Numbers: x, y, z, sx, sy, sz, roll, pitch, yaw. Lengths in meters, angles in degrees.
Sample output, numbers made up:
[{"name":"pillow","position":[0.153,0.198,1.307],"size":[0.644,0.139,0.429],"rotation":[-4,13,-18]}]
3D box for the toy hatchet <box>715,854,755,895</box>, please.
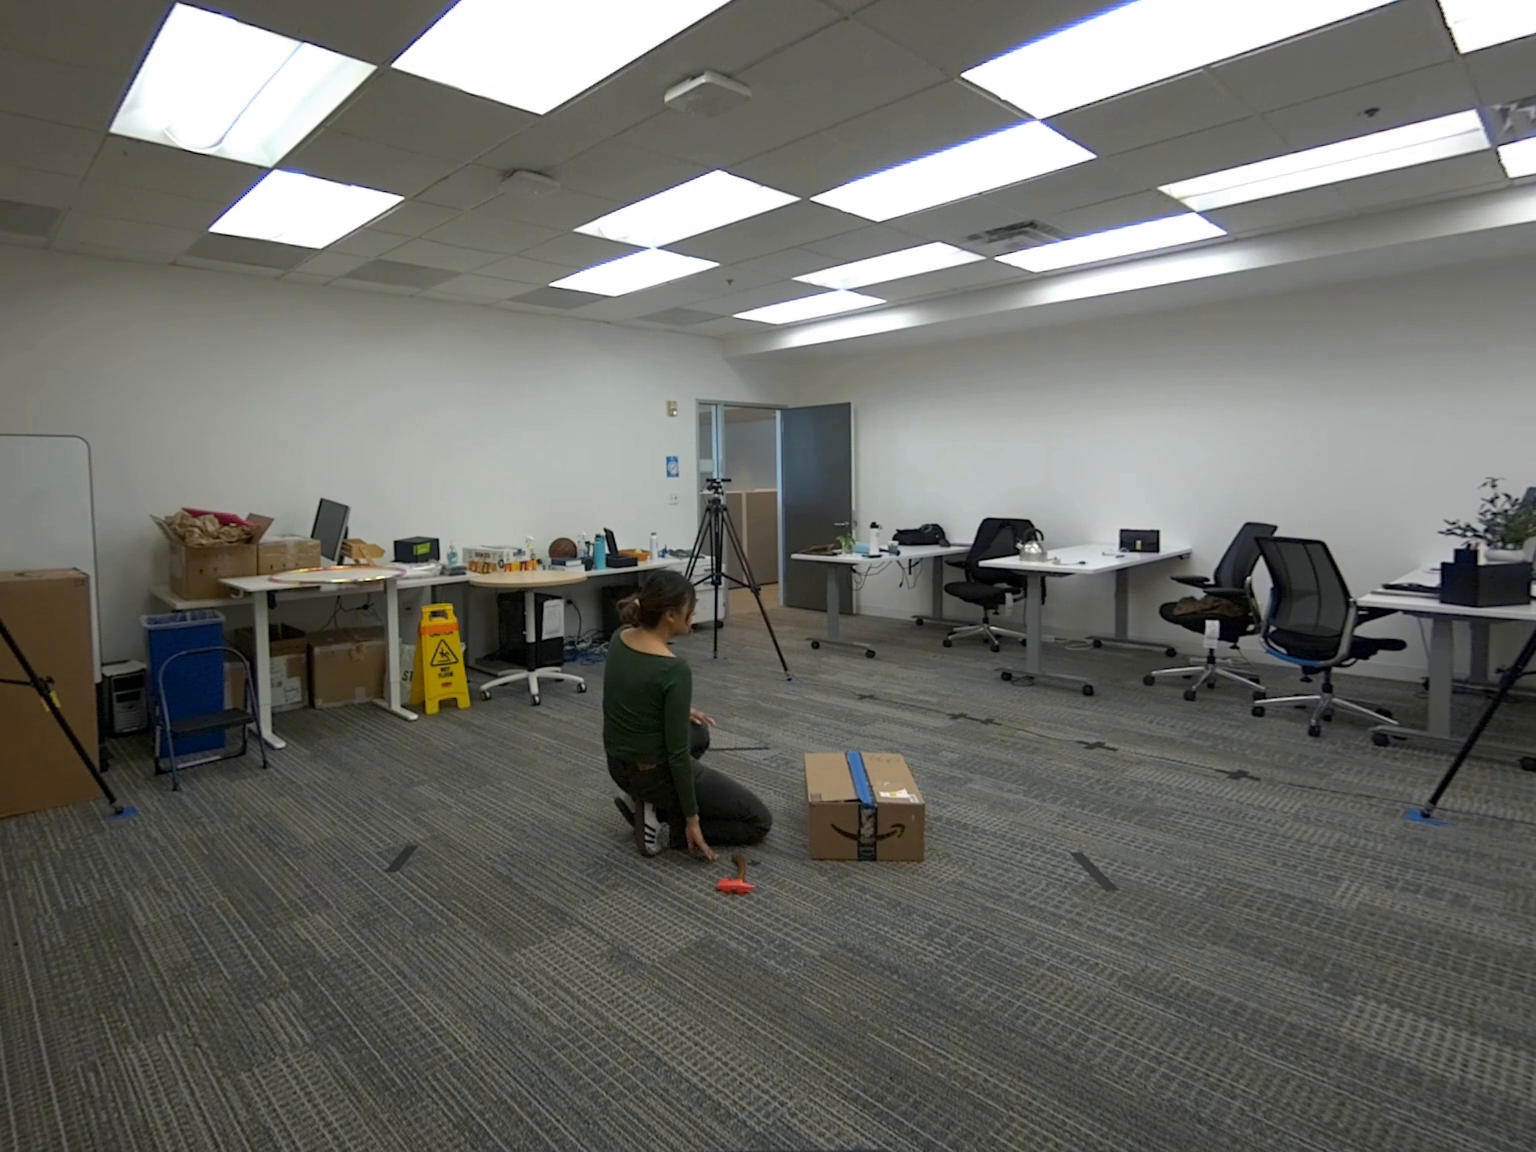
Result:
[{"name":"toy hatchet","position":[-0.138,1.048,3.002],"size":[0.130,0.029,0.273],"rotation":[-6,5,-11]}]
